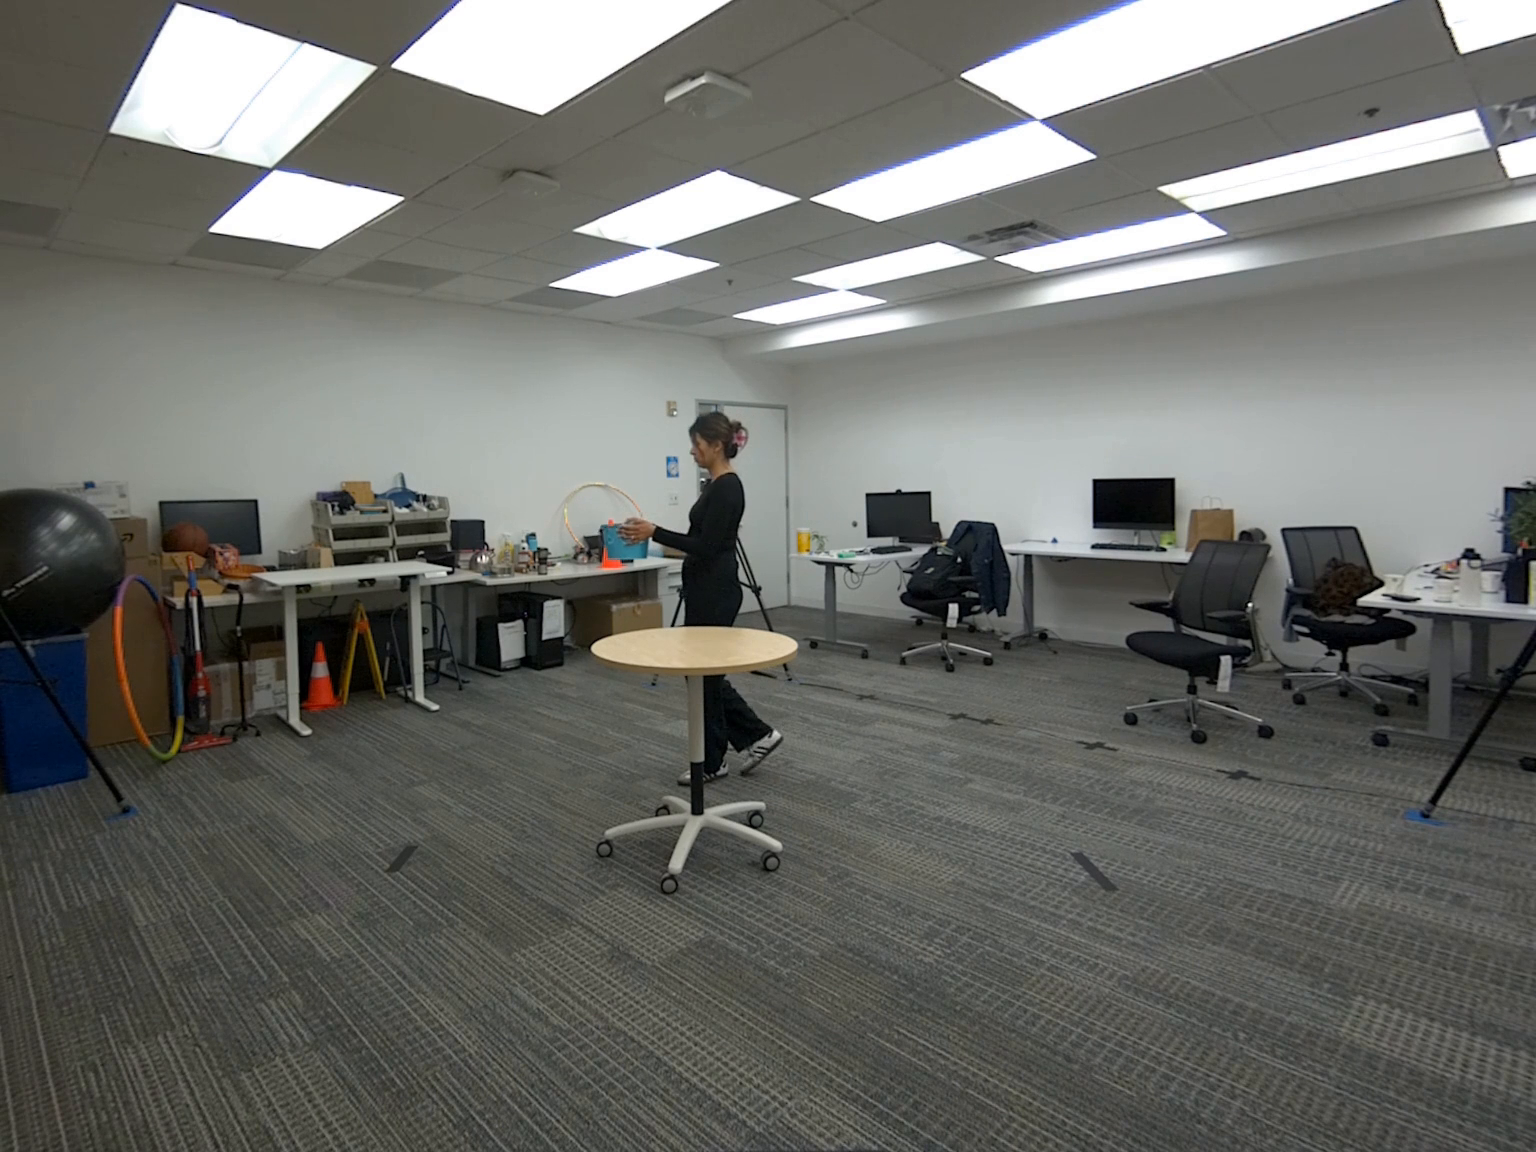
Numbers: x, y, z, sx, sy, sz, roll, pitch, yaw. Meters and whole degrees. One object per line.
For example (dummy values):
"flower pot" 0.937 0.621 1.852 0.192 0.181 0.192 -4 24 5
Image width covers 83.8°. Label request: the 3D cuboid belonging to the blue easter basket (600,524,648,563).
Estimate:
"blue easter basket" -0.627 -0.156 3.867 0.243 0.156 0.244 -1 1 -2
